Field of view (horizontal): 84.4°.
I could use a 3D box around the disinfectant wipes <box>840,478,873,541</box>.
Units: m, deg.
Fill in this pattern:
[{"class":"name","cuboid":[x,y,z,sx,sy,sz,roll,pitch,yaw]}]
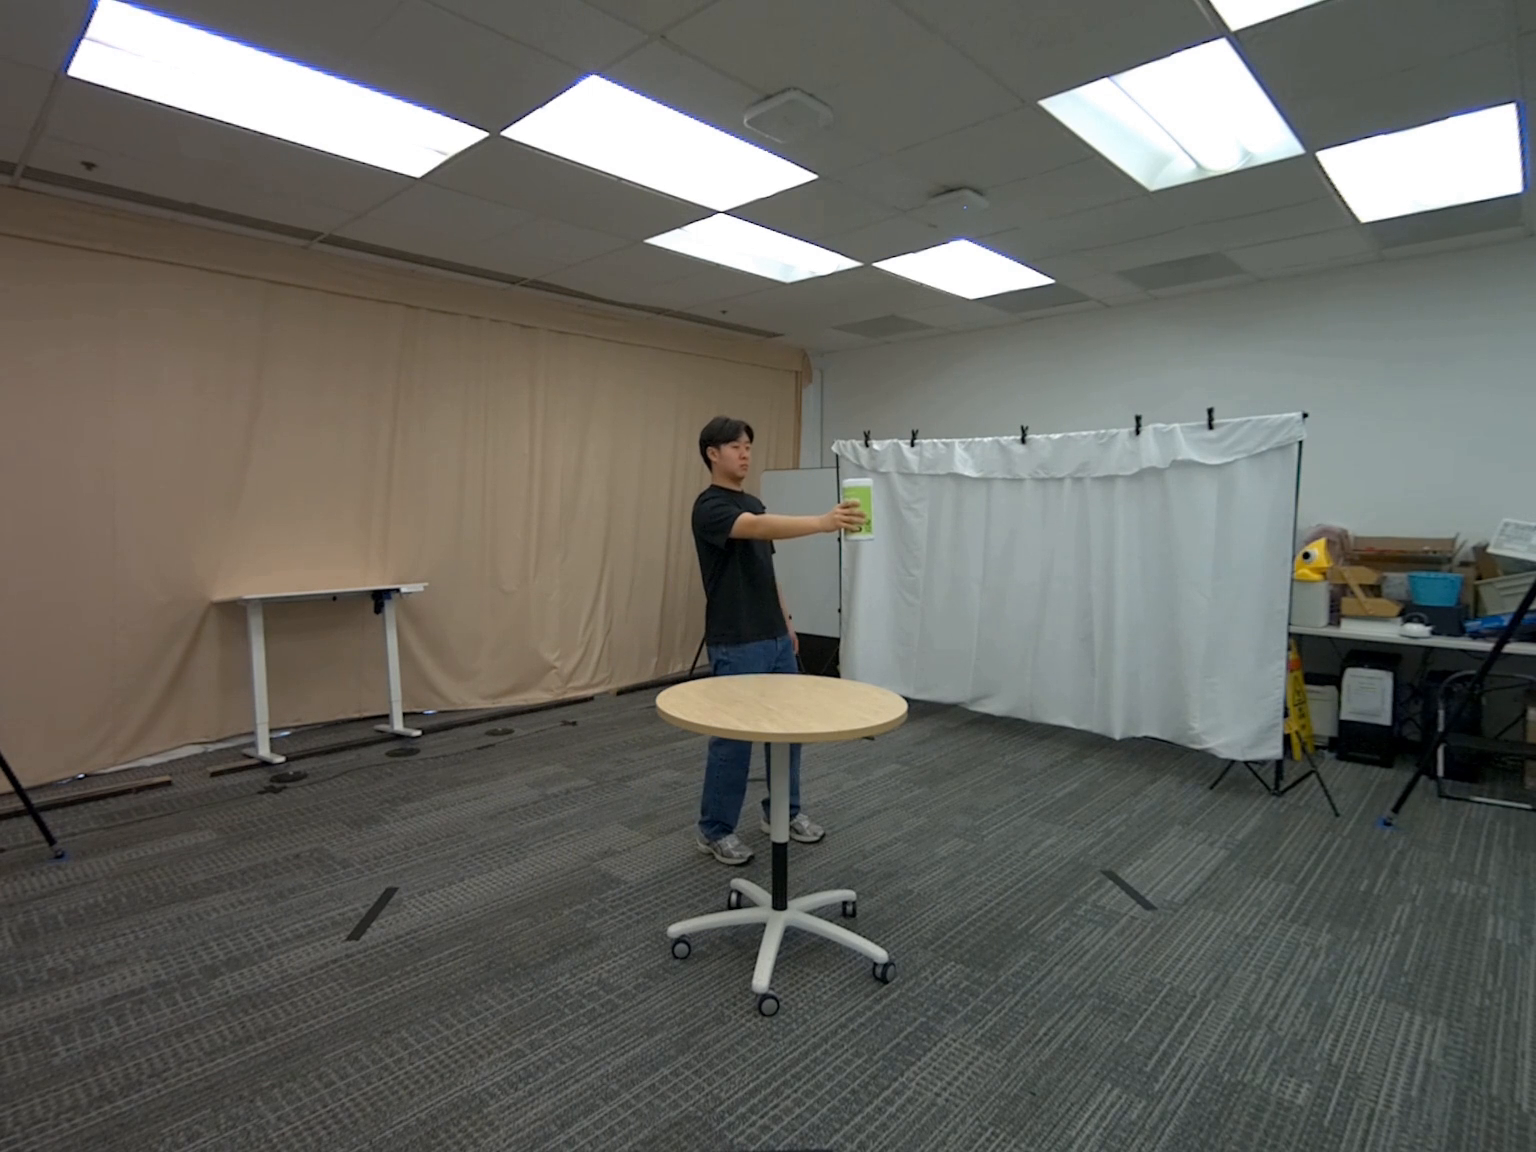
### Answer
[{"class":"disinfectant wipes","cuboid":[0.327,-0.235,2.963,0.118,0.217,0.118,-2,3,-2]}]
